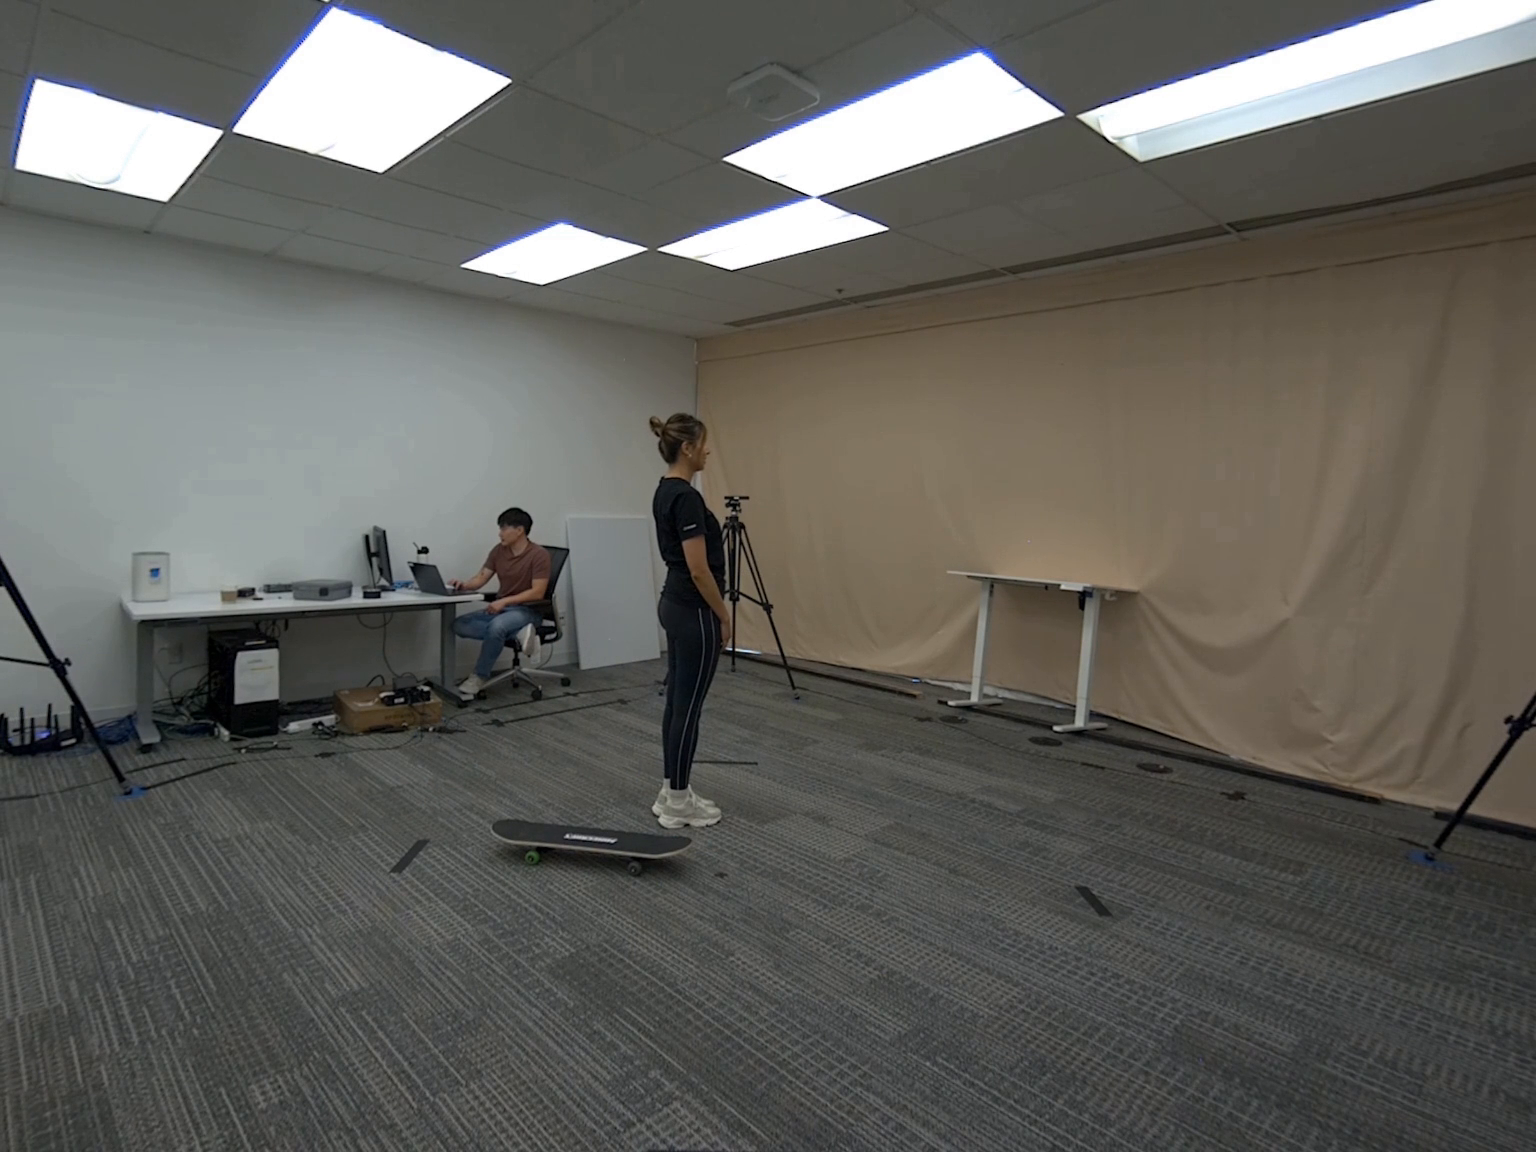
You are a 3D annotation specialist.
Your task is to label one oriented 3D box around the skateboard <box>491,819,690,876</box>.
[{"bbox_3d":[-0.679,1.026,3.194,0.792,0.110,0.192,2,5,10],"label":"skateboard"}]
